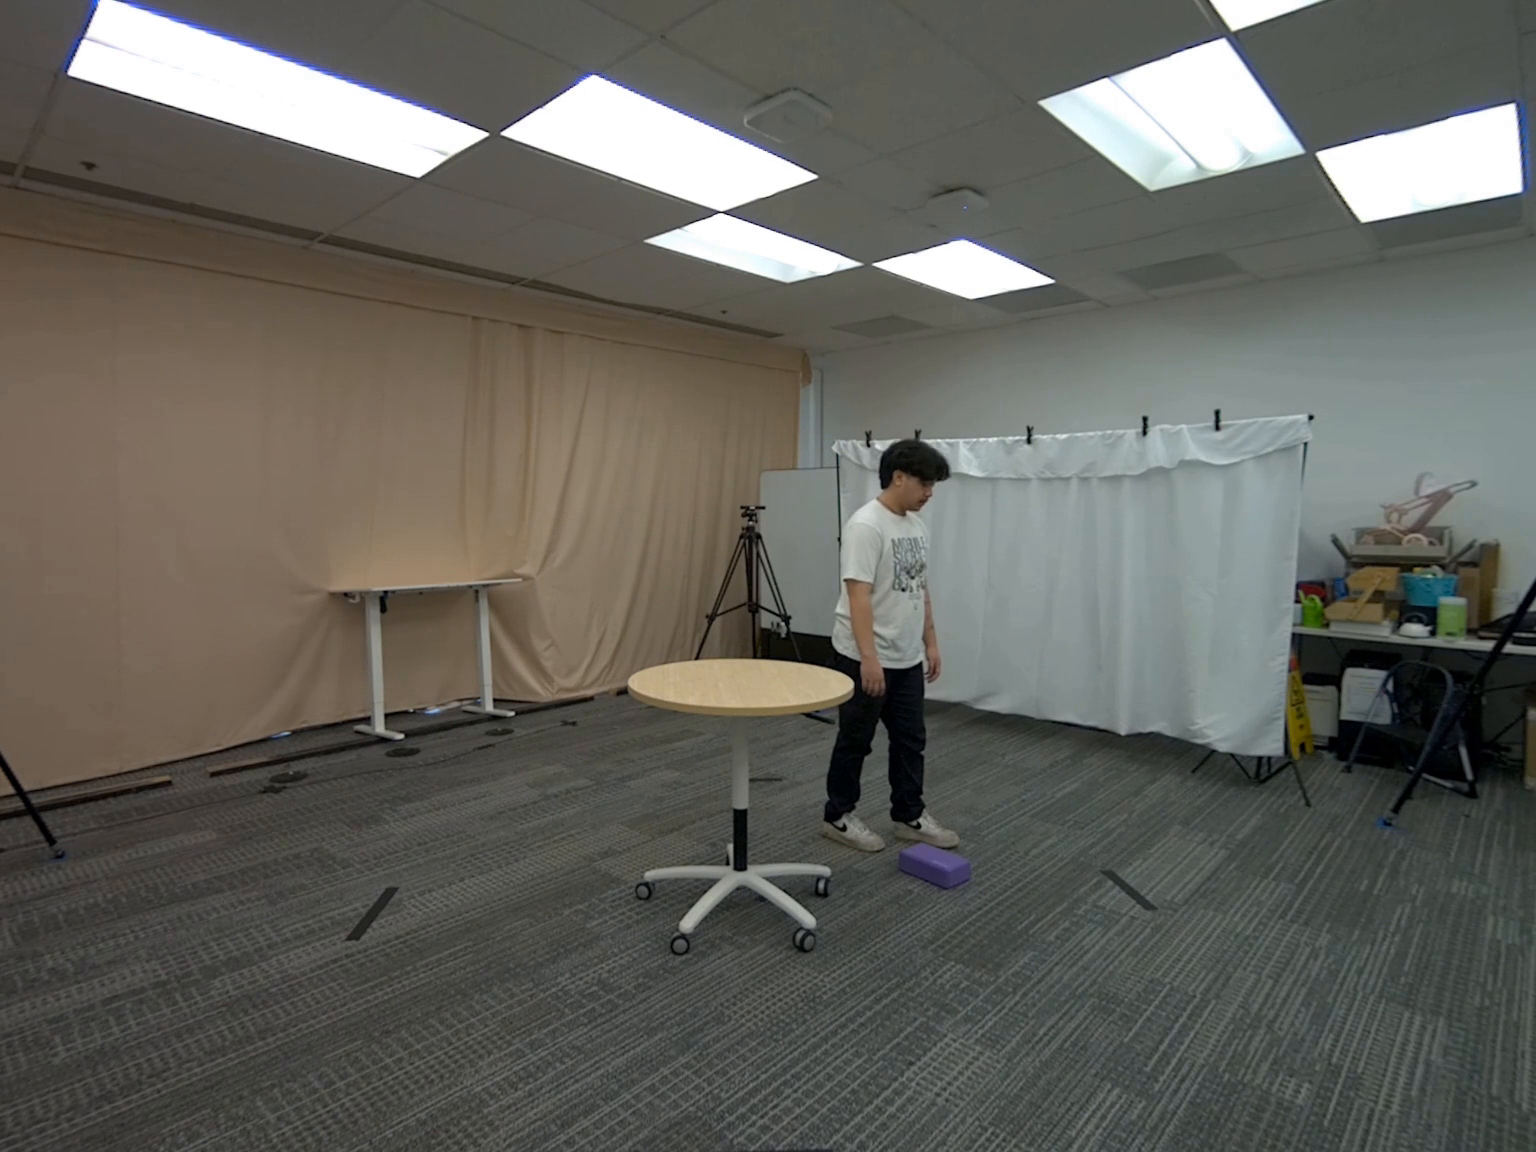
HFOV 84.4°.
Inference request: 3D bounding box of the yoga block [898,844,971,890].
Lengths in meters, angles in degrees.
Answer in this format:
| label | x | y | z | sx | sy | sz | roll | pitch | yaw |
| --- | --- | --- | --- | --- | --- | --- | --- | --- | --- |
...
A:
| label | x | y | z | sx | sy | sz | roll | pitch | yaw |
| --- | --- | --- | --- | --- | --- | --- | --- | --- | --- |
| yoga block | 0.626 | 1.085 | 3.174 | 0.144 | 0.076 | 0.237 | -5 | 8 | -43 |
